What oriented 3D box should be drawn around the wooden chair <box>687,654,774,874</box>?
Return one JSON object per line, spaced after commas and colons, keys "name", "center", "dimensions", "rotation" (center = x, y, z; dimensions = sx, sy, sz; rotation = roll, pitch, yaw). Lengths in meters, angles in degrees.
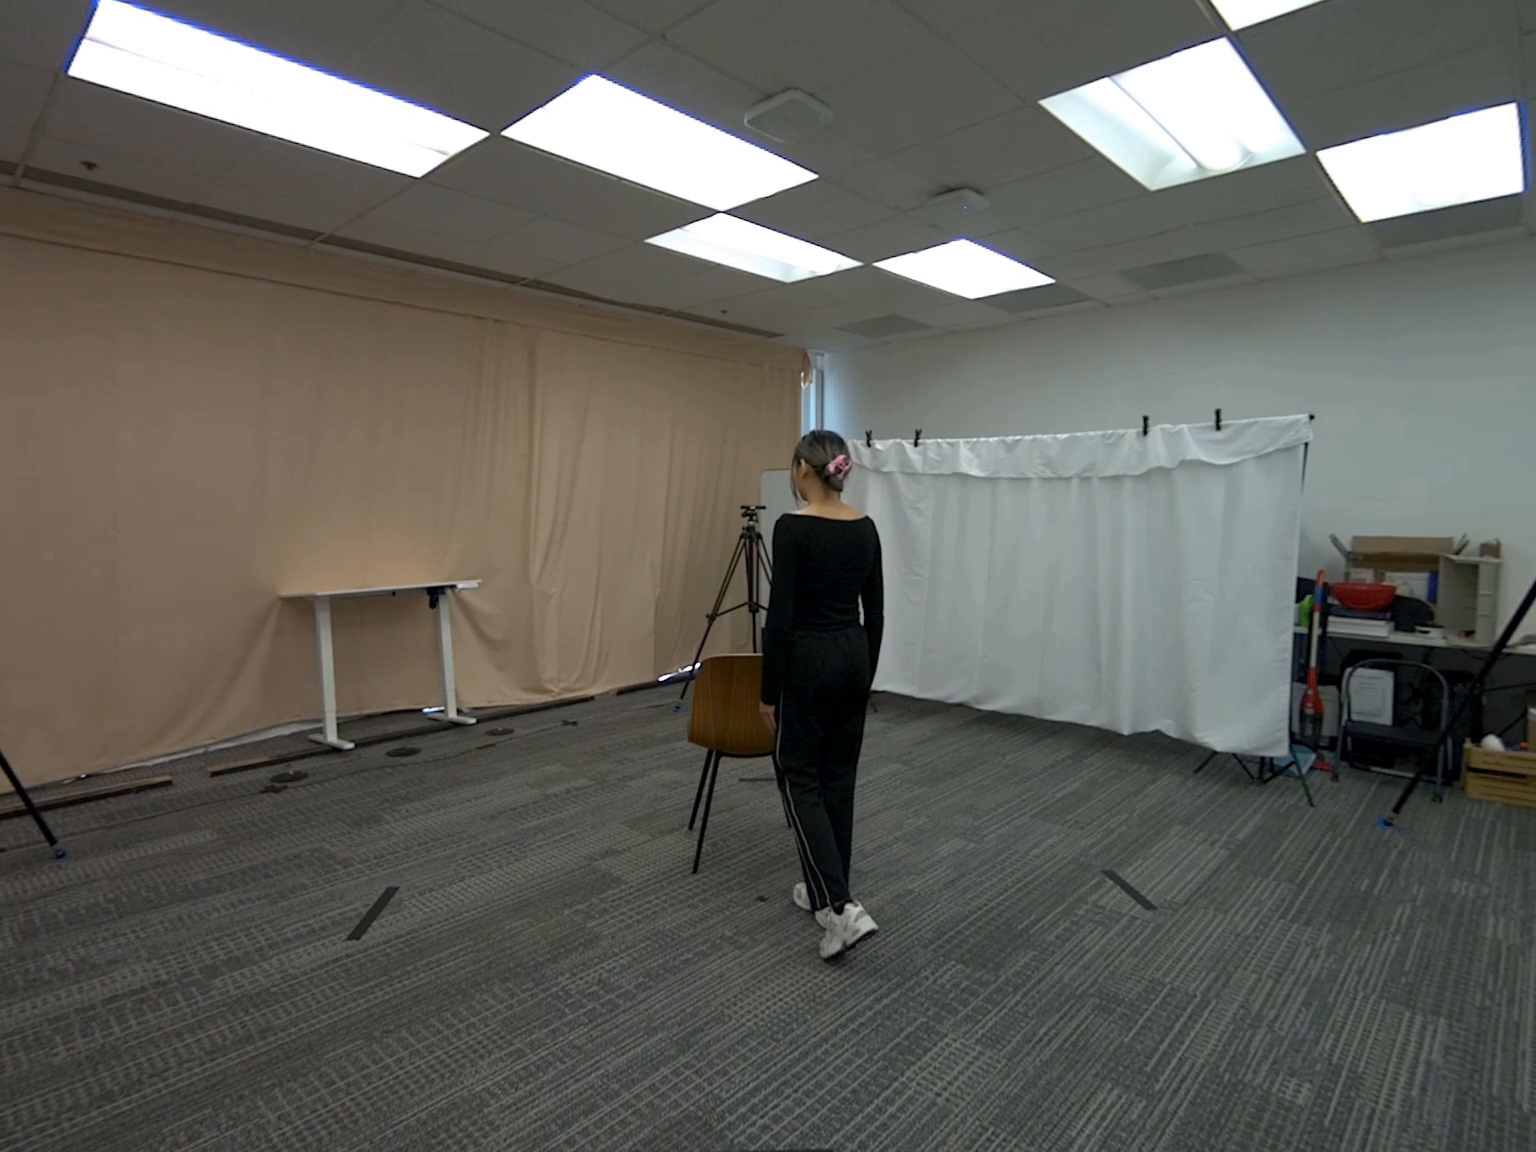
{"name": "wooden chair", "center": [-0.097, 0.682, 3.401], "dimensions": [0.476, 0.873, 0.528], "rotation": [-1, 7, -6]}
